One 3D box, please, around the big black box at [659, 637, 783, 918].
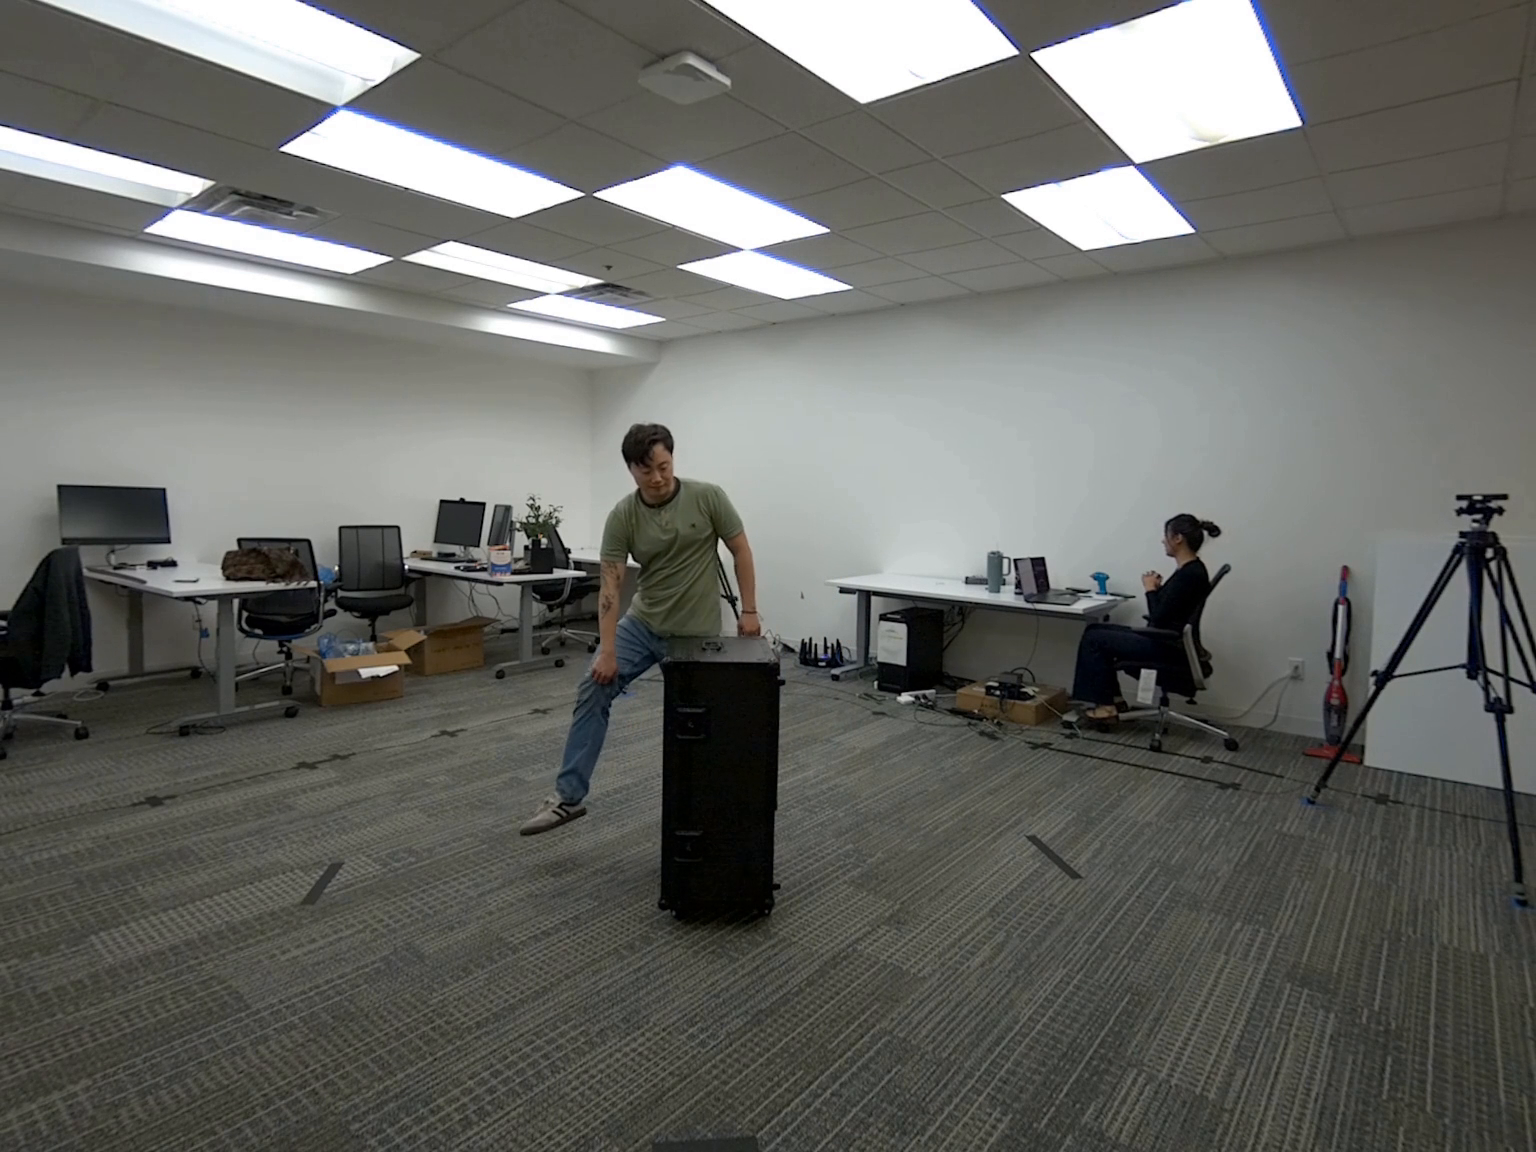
[{"bbox_3d":[-0.173,0.666,2.880,0.395,0.859,0.524,1,3,-3],"label":"big black box"}]
